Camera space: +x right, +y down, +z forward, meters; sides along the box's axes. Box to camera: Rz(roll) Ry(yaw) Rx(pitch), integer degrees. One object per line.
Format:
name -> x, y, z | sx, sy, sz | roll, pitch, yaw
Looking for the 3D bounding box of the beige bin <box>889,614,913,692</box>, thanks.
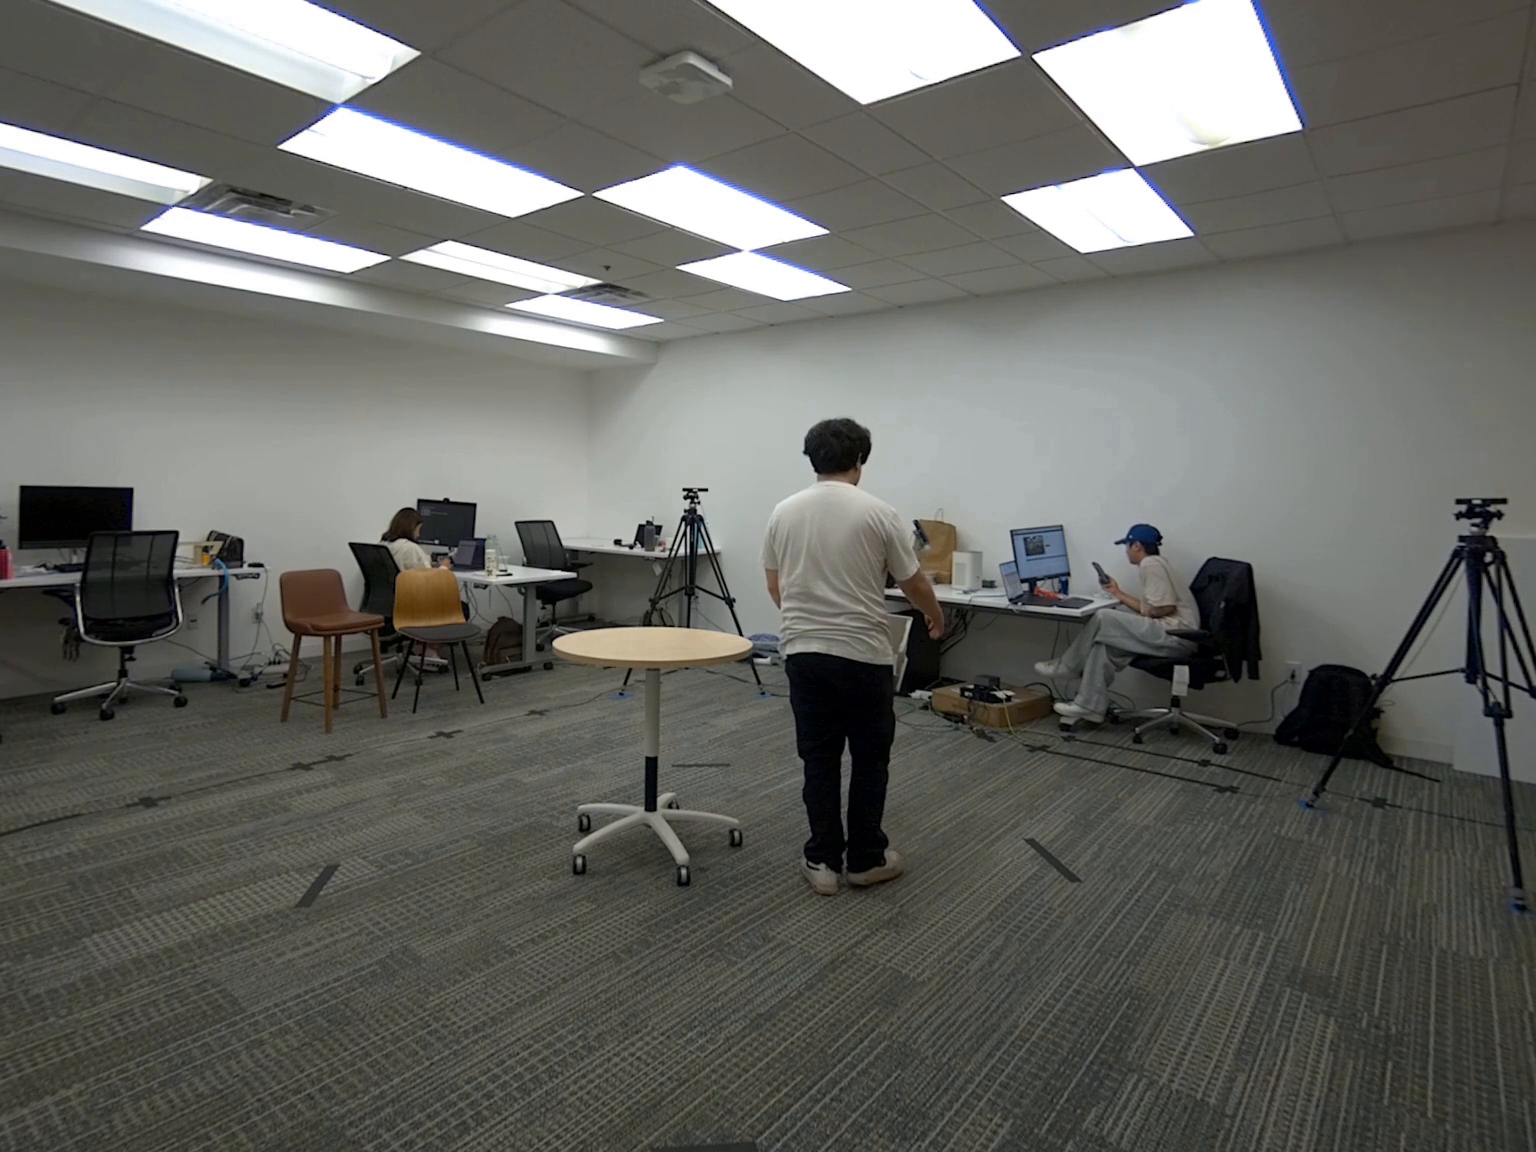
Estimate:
beige bin -> 0.334, 0.270, 3.341 | 0.431, 0.187, 0.374 | 7, 14, 17
